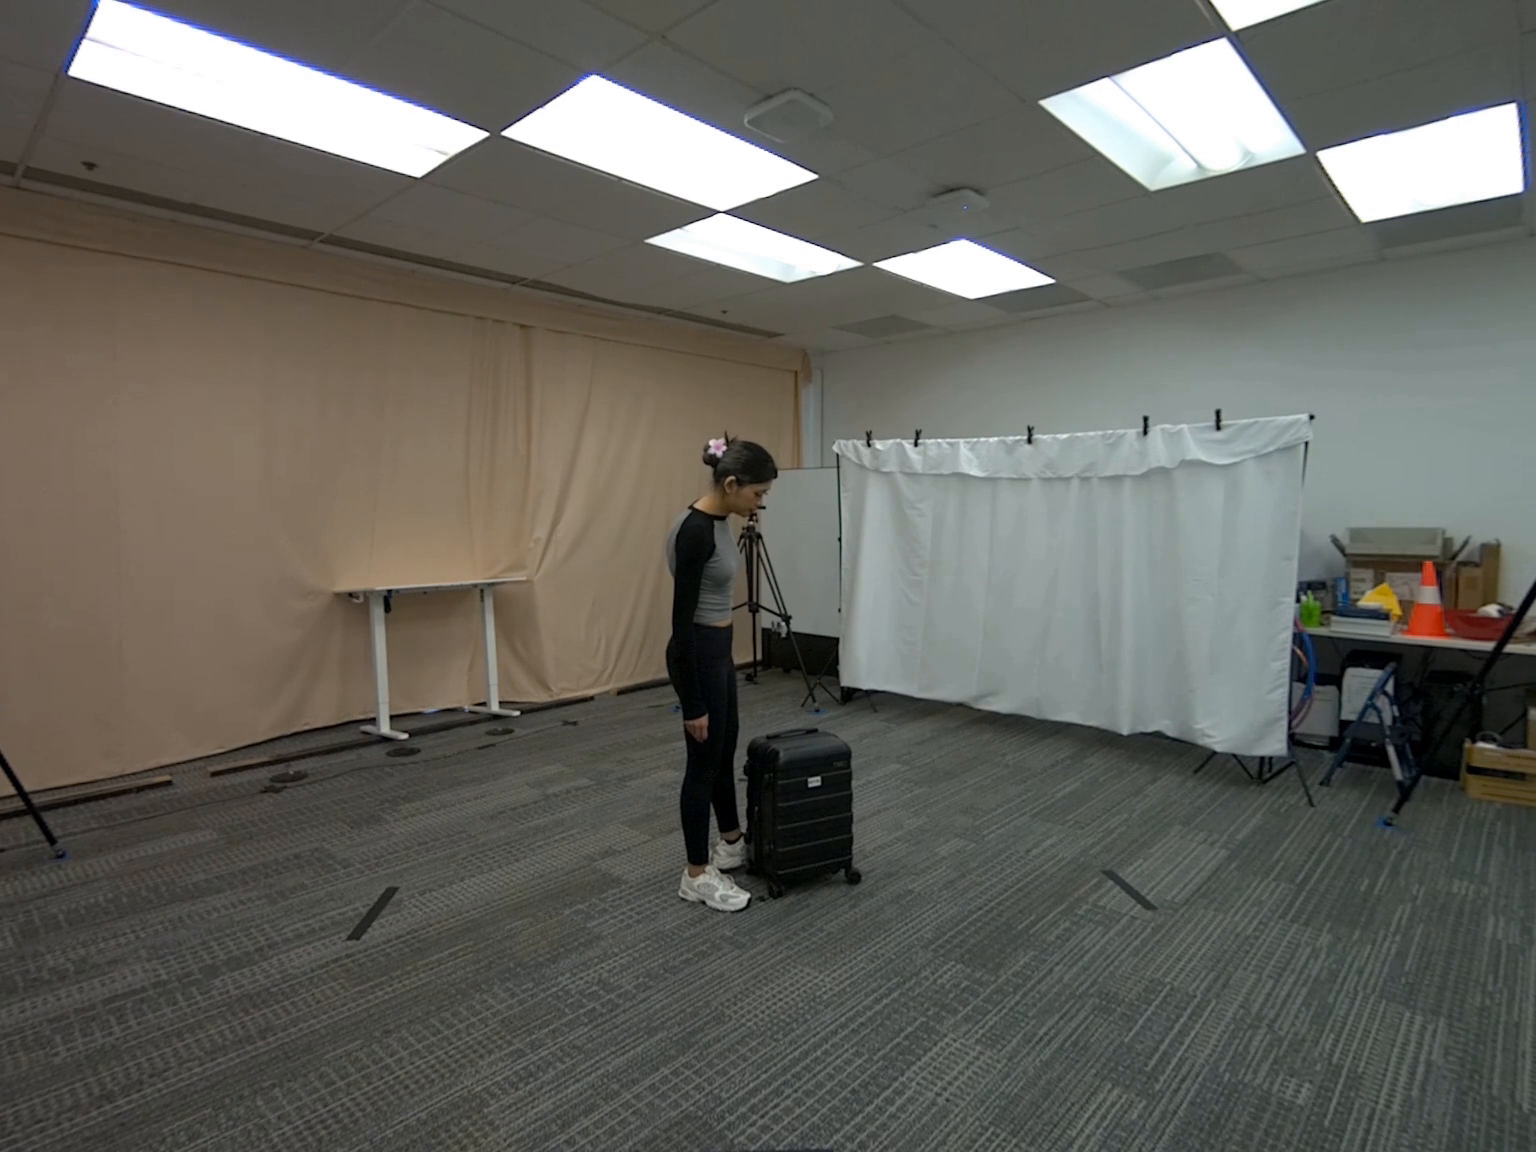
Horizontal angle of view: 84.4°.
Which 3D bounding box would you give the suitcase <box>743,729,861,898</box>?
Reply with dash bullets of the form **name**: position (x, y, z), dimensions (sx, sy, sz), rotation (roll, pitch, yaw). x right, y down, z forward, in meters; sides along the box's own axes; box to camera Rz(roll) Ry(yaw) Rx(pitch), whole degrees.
- **suitcase**: position (0.121, 0.851, 3.120), dimensions (0.366, 0.548, 0.255), rotation (-2, 4, -26)
